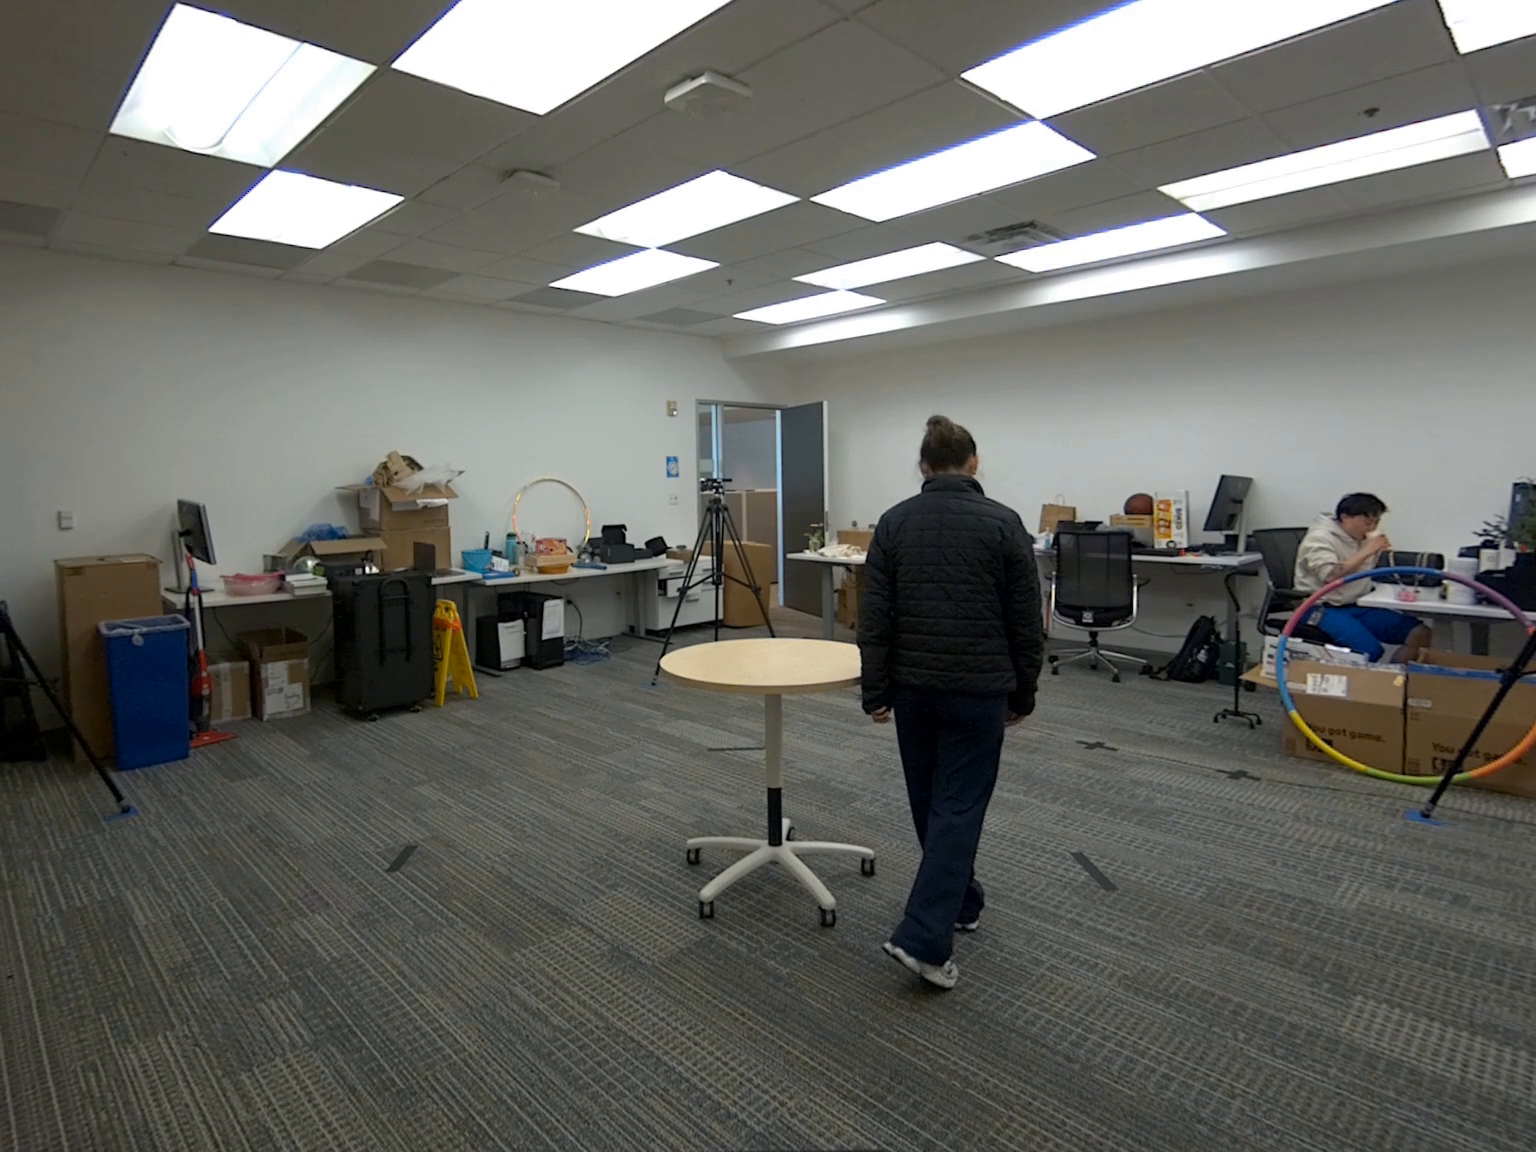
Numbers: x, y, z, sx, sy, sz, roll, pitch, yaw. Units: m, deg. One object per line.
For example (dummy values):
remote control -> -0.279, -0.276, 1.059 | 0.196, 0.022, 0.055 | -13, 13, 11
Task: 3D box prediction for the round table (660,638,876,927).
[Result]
round table -> 0.006, 0.669, 2.937 | 0.784, 0.783, 0.789 | -1, 5, -2
